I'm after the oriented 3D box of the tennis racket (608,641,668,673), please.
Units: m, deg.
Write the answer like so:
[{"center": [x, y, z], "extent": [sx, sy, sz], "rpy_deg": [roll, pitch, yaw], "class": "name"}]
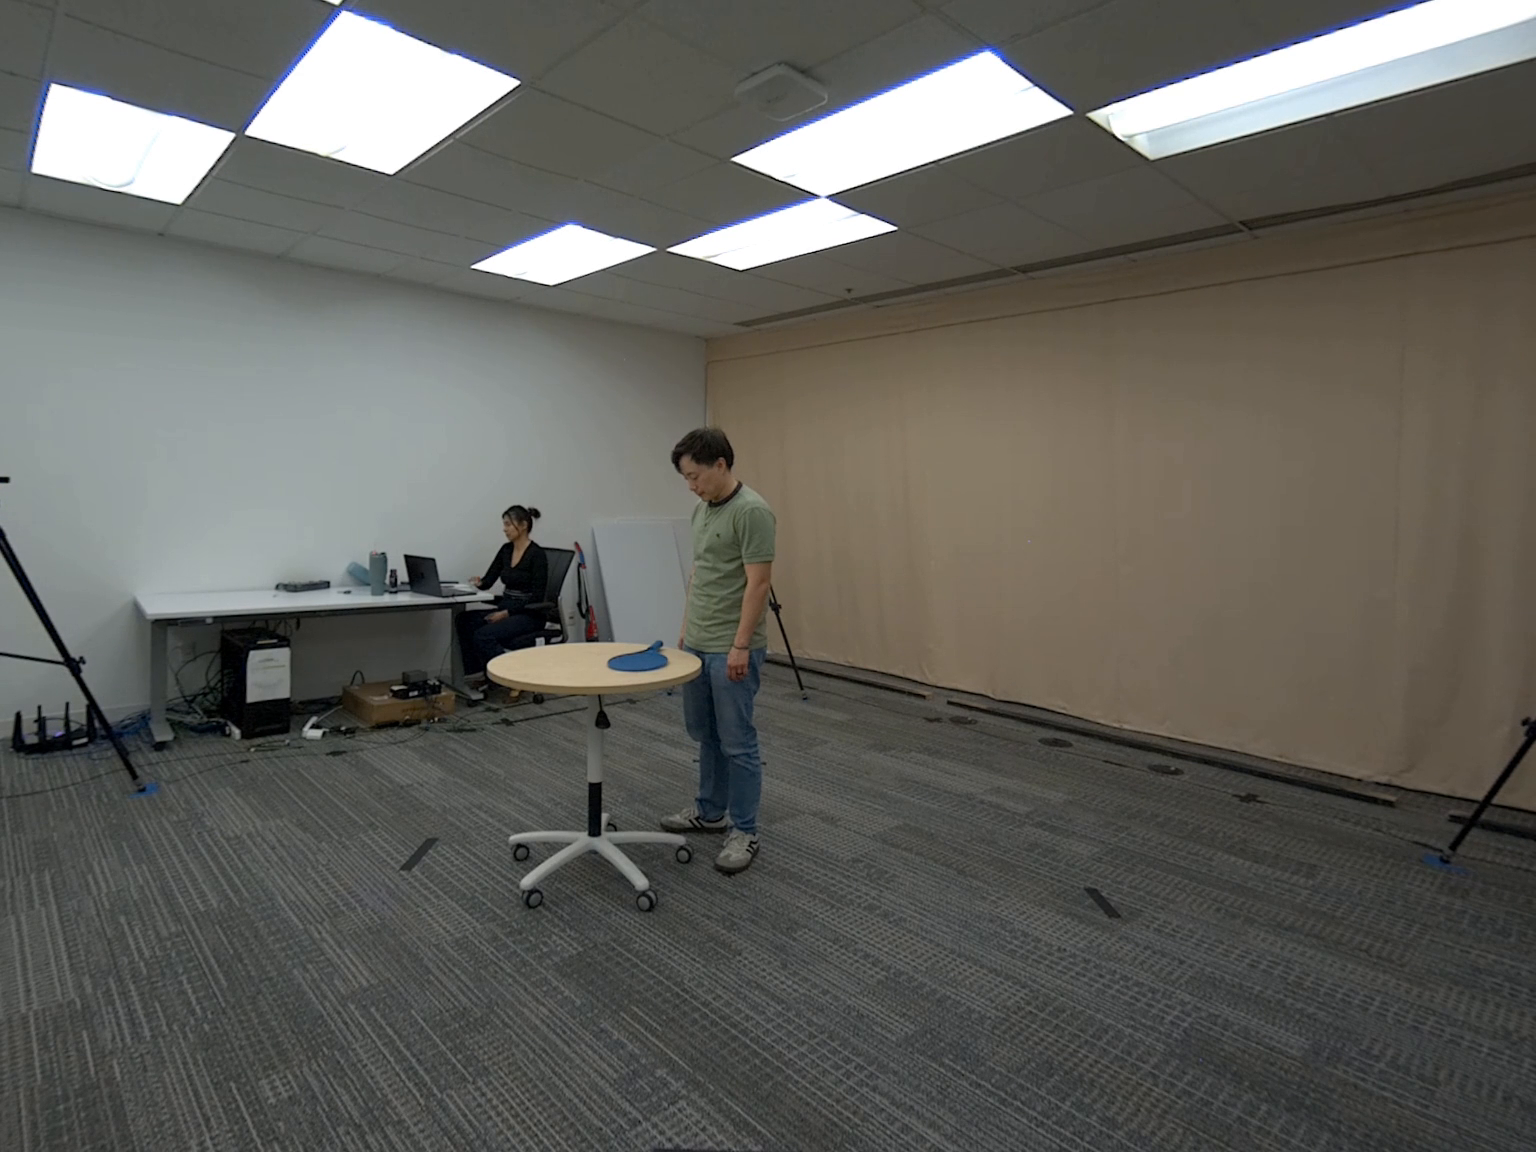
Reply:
[{"center": [-0.455, 0.299, 3.112], "extent": [0.216, 0.031, 0.431], "rpy_deg": [2, 7, 10], "class": "tennis racket"}]
